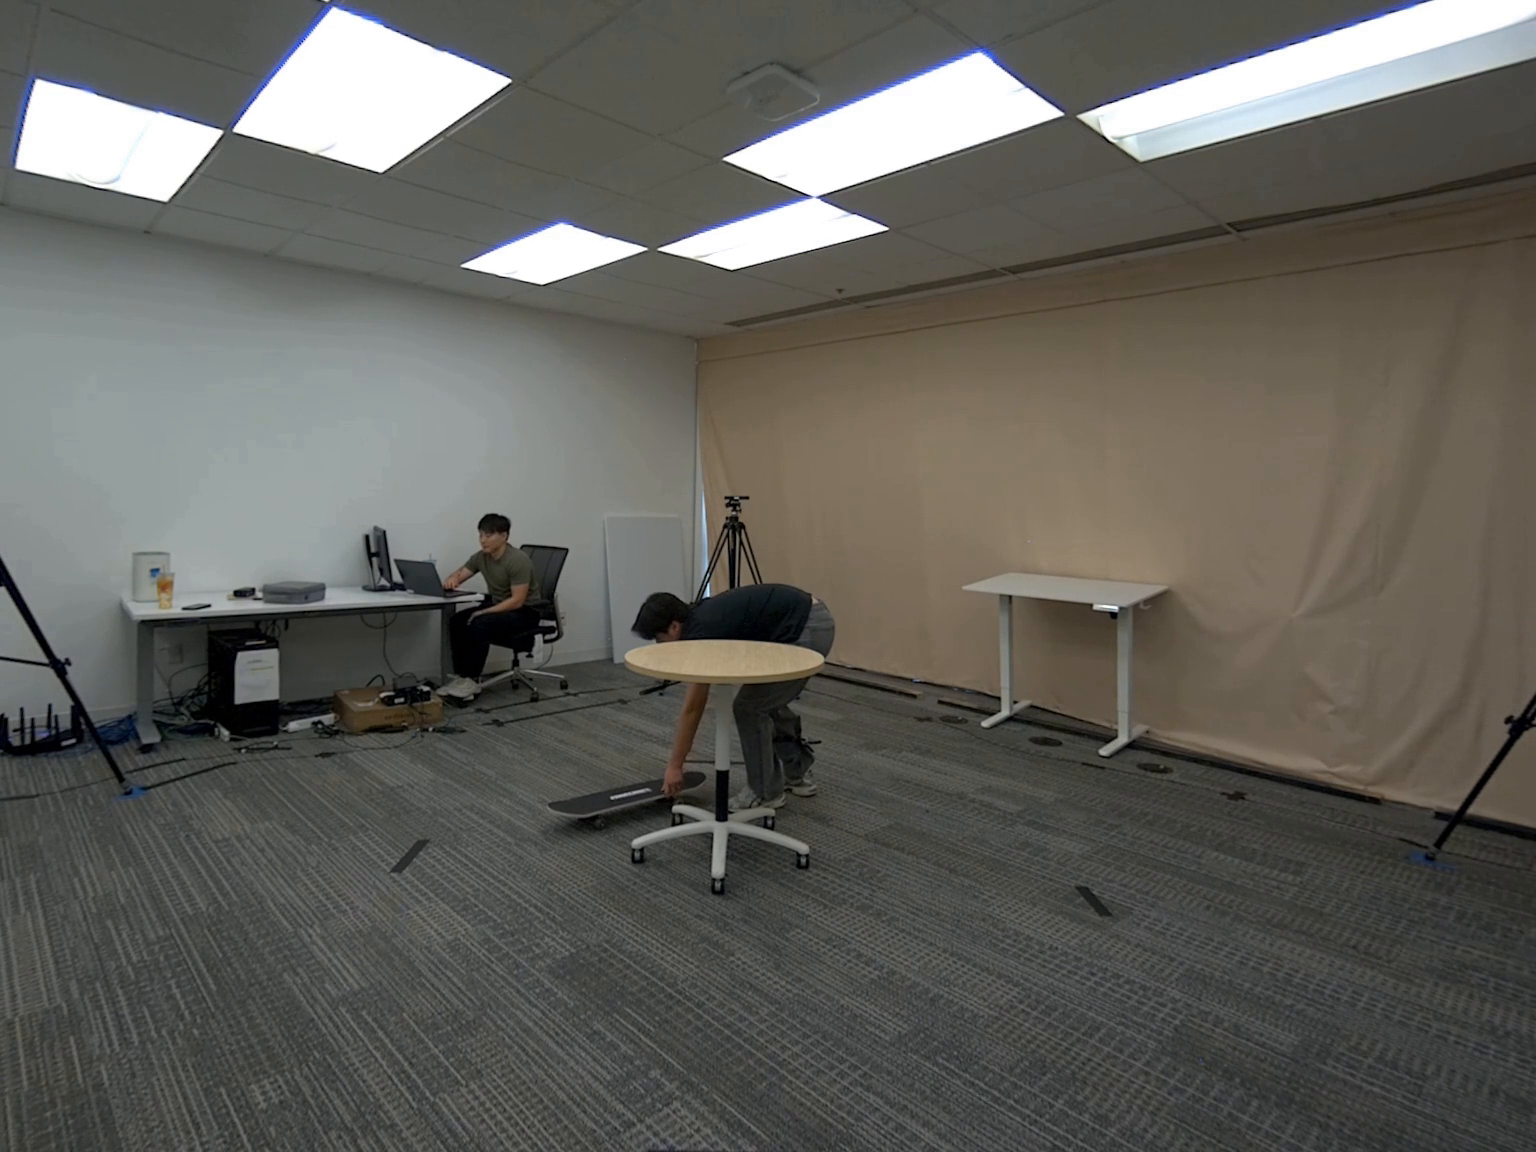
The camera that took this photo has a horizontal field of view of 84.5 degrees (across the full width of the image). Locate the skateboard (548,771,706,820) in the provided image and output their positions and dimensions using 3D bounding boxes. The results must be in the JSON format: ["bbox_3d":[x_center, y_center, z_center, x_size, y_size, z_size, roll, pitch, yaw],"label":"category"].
[{"bbox_3d":[-0.609,0.985,3.682,0.768,0.110,0.198,-3,7,-40],"label":"skateboard"}]
